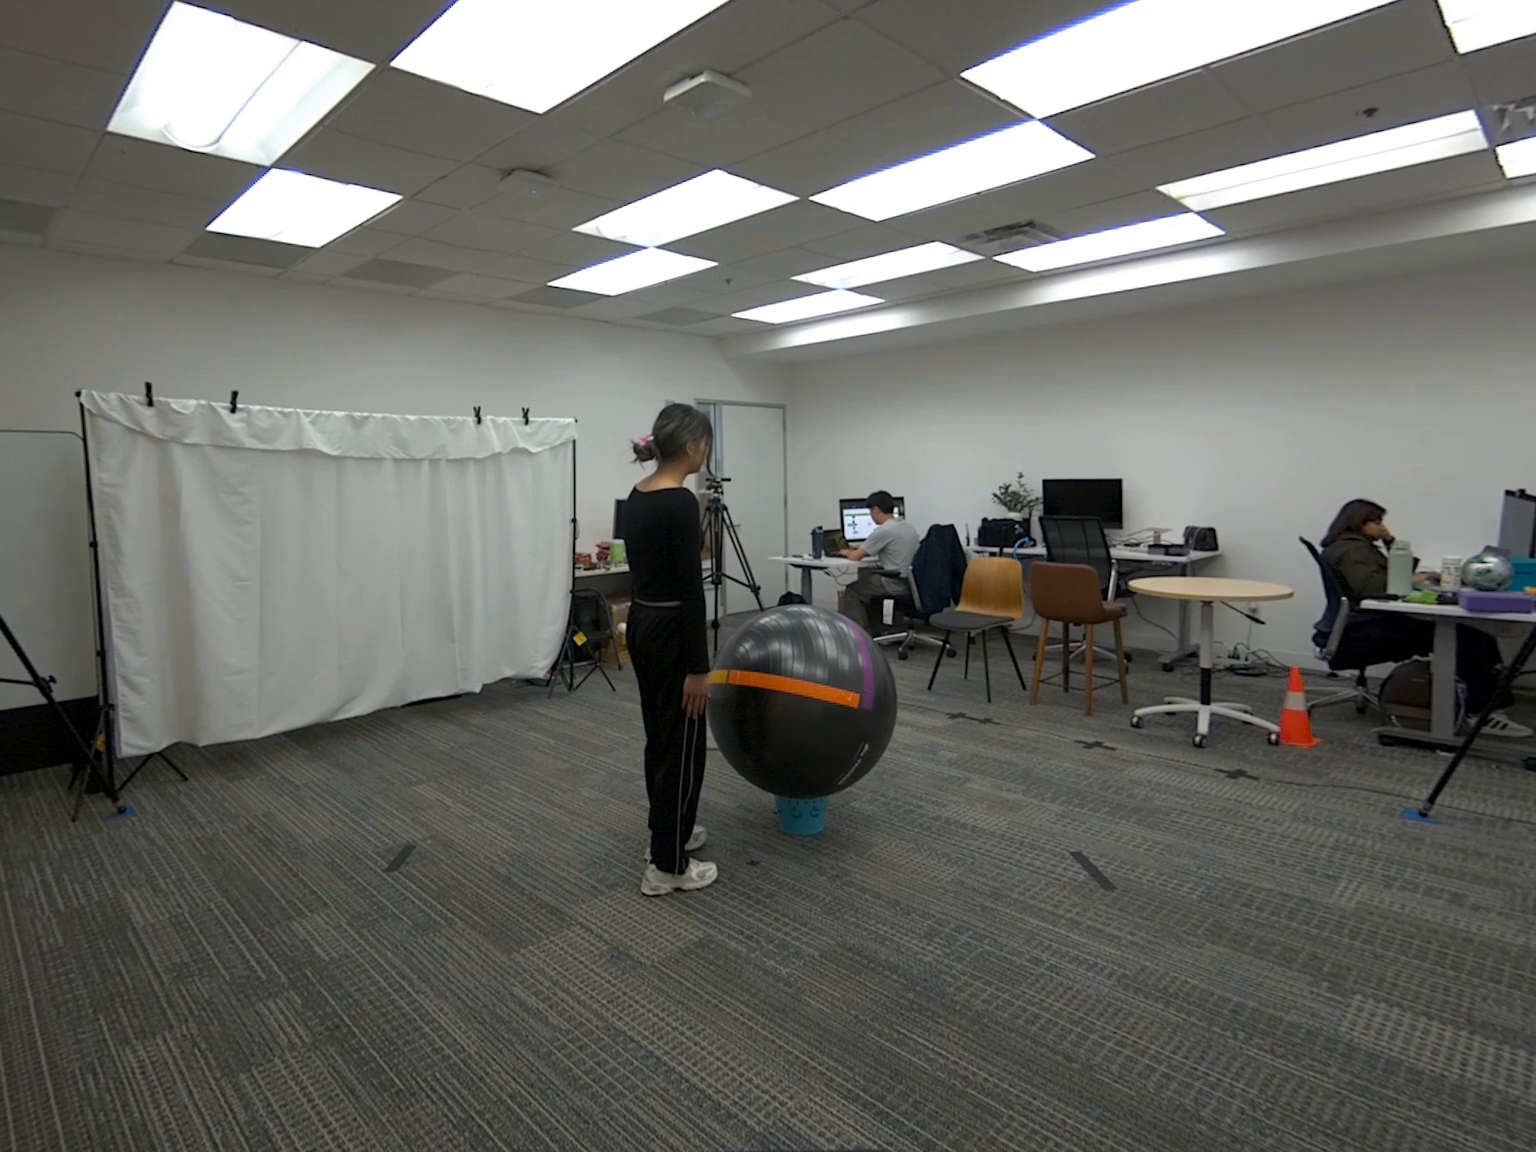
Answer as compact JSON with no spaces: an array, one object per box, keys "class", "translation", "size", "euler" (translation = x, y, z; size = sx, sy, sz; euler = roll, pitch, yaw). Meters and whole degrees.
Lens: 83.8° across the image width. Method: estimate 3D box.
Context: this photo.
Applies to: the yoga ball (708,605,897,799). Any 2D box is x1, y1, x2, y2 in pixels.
[{"class":"yoga ball","translation":[0.128,0.498,3.412],"size":[0.757,0.755,0.762],"euler":[-1,5,-2]}]
